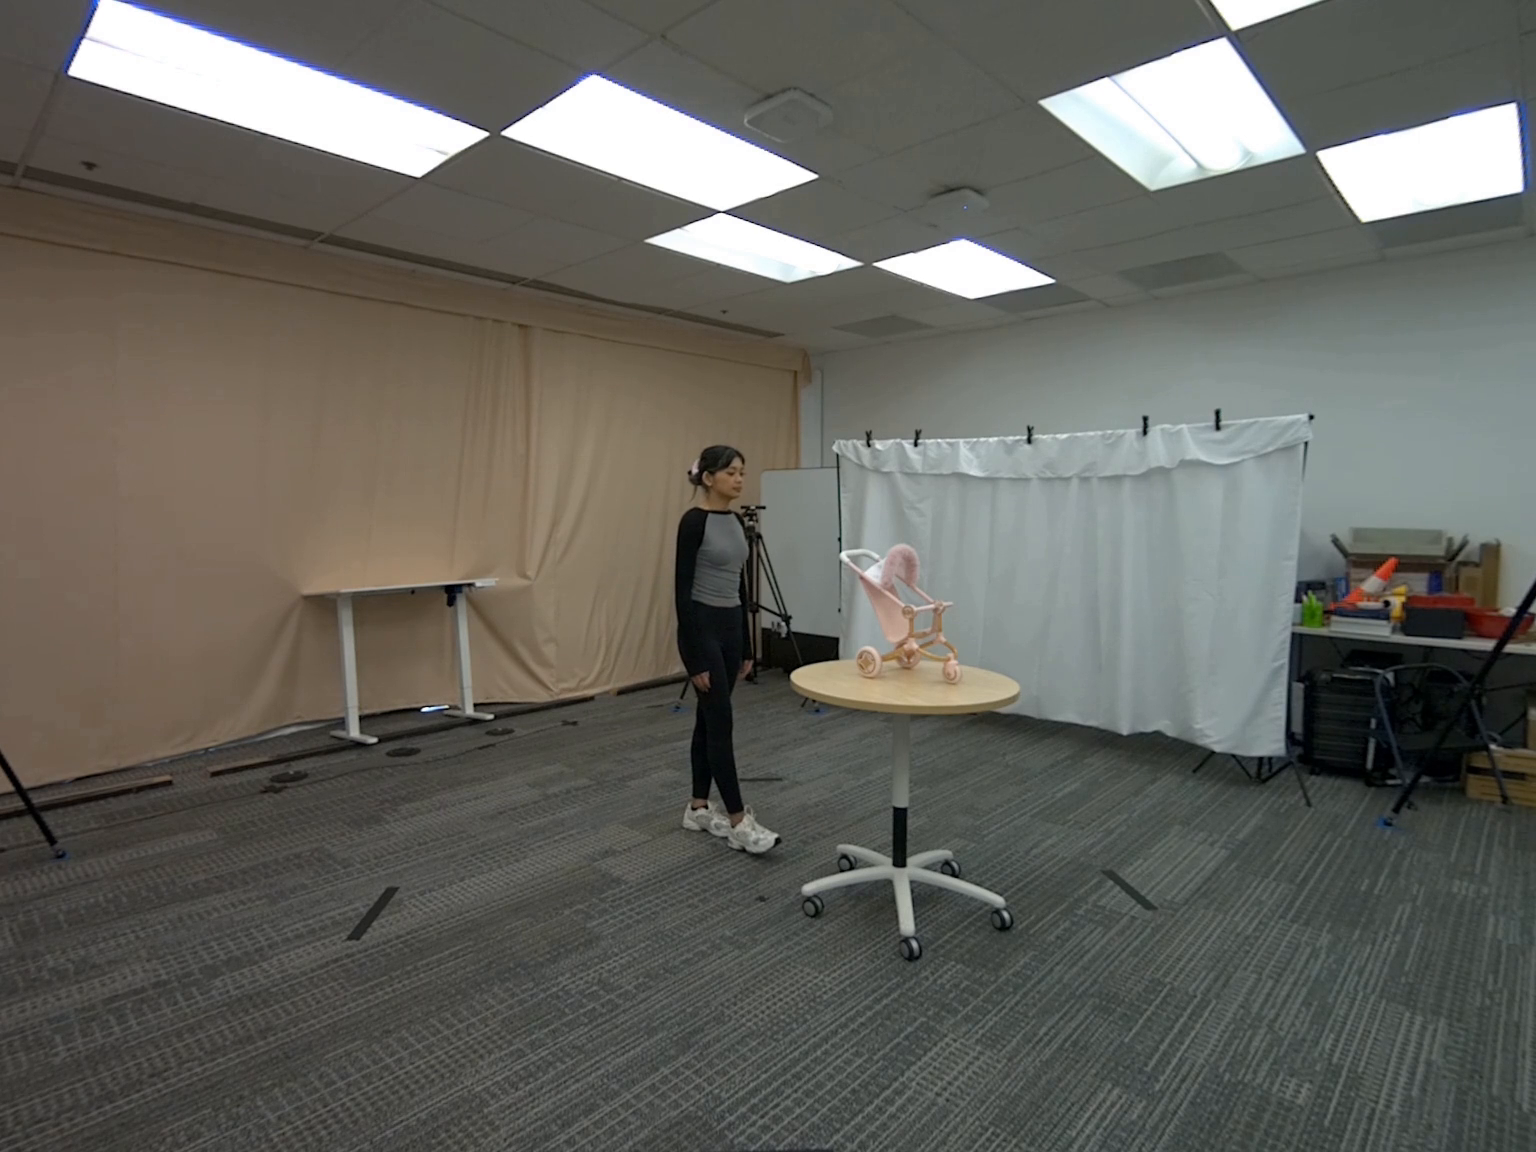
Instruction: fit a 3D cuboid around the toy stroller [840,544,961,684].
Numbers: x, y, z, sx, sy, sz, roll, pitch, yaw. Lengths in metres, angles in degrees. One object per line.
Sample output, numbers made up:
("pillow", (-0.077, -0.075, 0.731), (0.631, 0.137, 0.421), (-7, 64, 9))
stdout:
("toy stroller", (0.486, 0.130, 2.950), (0.273, 0.539, 0.349), (-3, -11, -43))
